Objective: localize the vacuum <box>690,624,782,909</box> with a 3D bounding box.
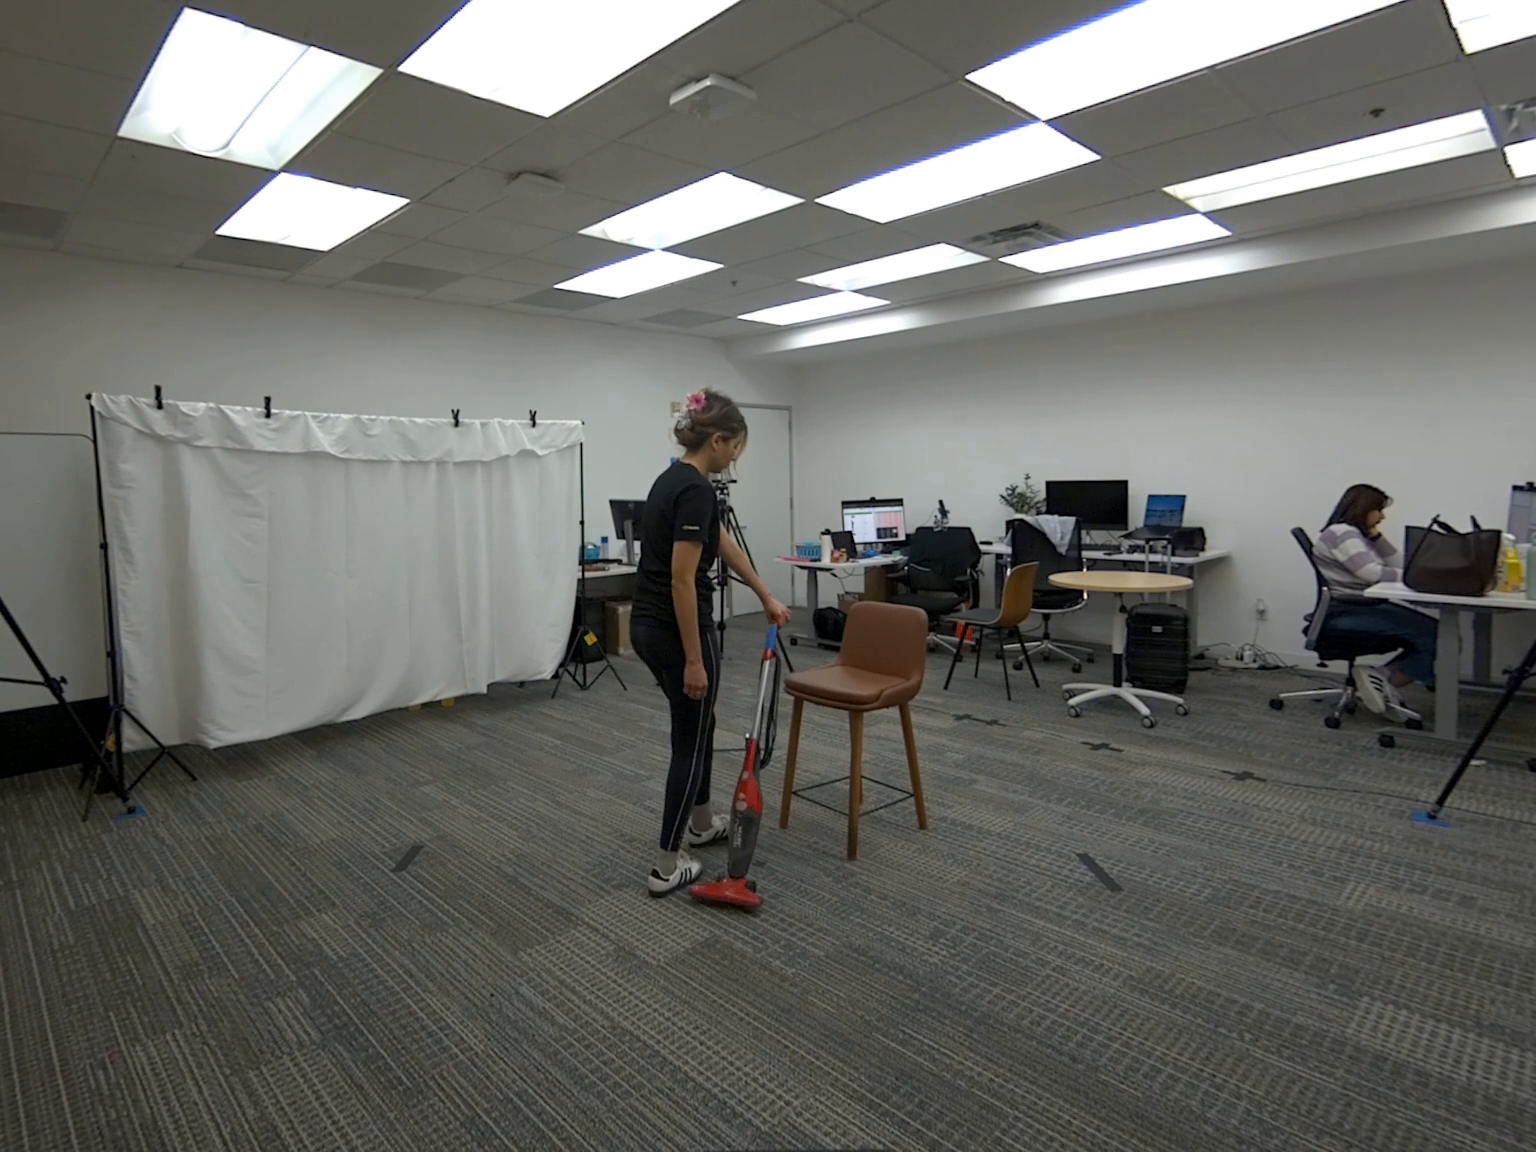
[{"bbox_3d":[-0.037,0.600,3.069,0.258,1.067,0.138,-4,-30,27],"label":"vacuum"}]
